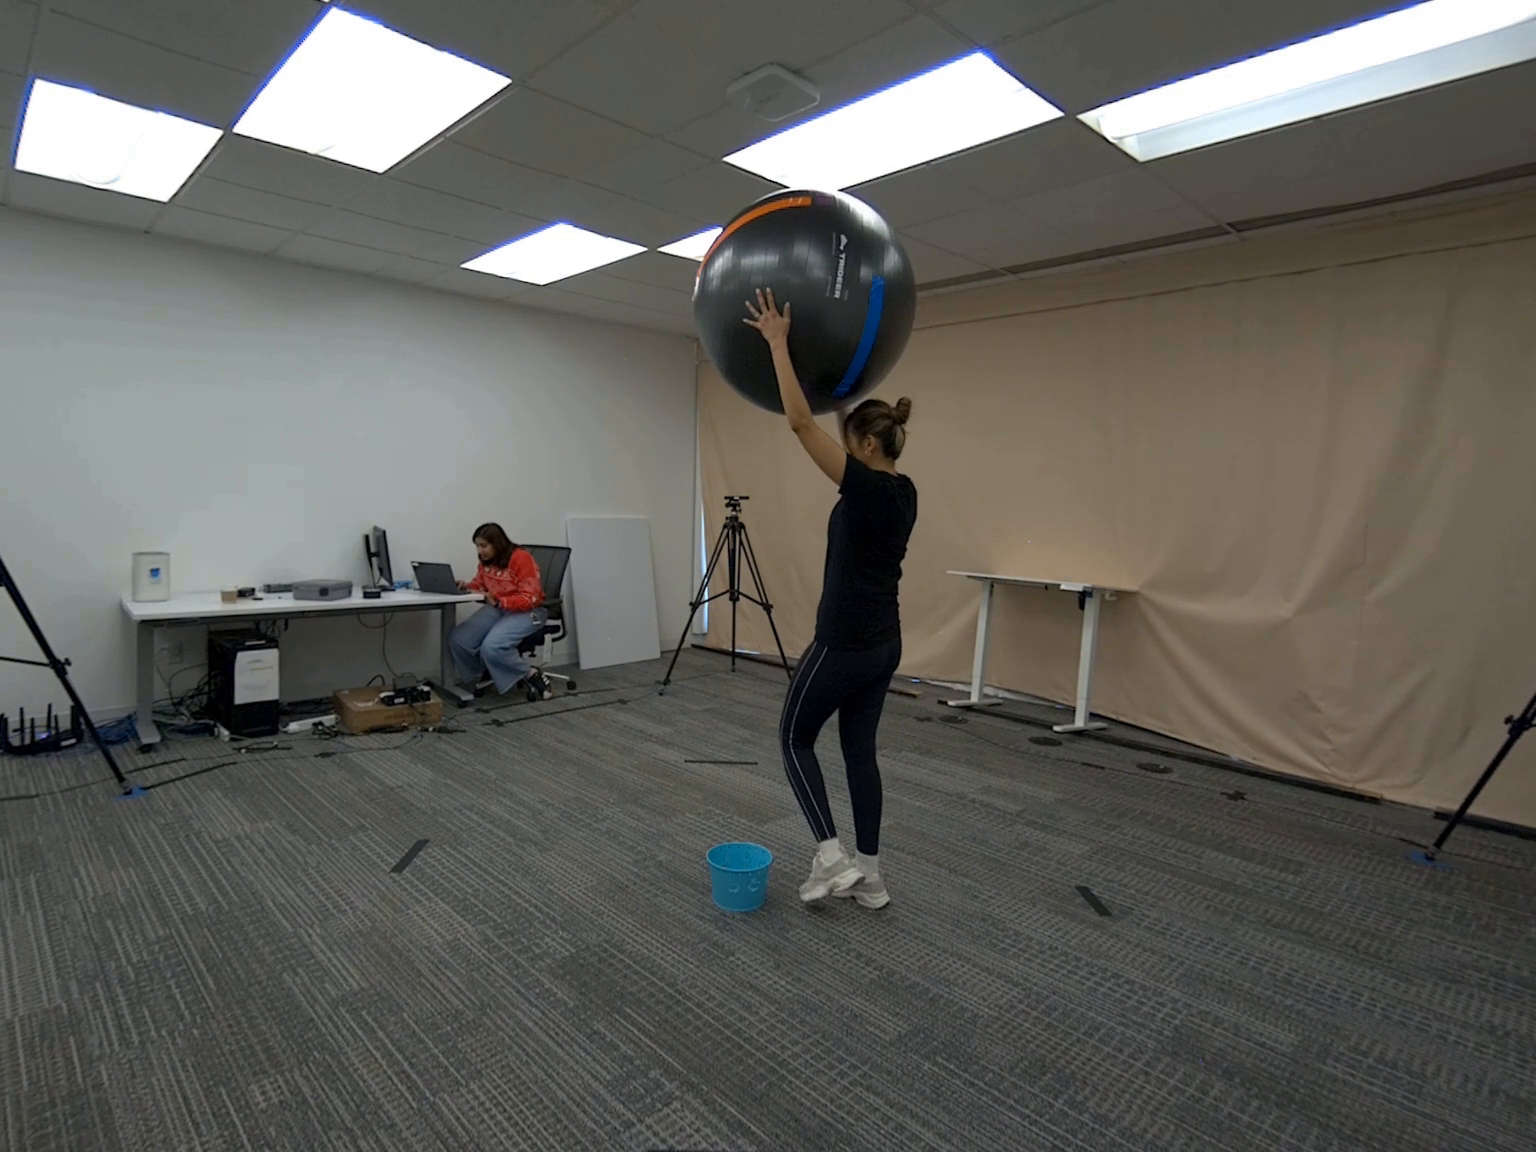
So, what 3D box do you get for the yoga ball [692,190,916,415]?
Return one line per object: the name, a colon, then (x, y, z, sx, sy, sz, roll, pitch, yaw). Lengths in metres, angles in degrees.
yoga ball: (0.115, -0.929, 2.913, 0.757, 0.756, 0.761, 1, 4, -1)
